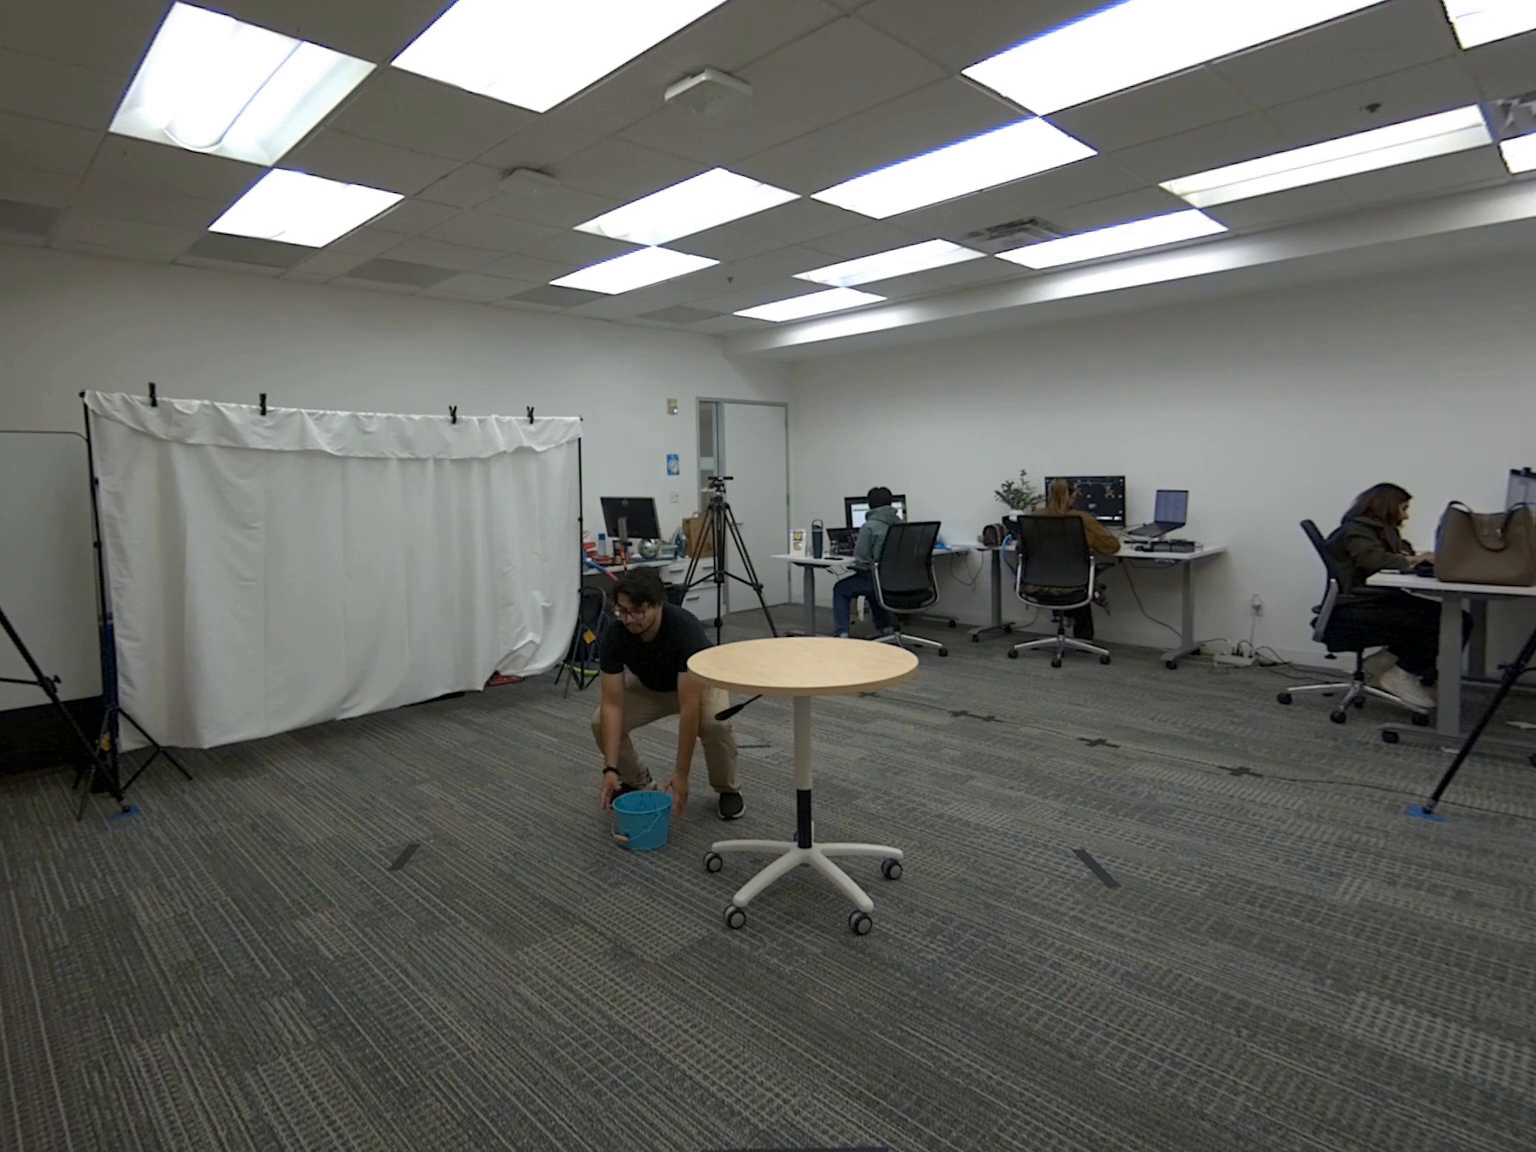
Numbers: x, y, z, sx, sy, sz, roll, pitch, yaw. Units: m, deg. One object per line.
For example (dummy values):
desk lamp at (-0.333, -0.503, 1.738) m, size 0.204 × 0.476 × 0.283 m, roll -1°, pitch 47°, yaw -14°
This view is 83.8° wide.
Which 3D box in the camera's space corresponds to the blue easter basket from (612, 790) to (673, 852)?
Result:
blue easter basket at (-0.487, 0.949, 3.303) m, size 0.243 × 0.155 × 0.245 m, roll -1°, pitch 7°, yaw -2°
